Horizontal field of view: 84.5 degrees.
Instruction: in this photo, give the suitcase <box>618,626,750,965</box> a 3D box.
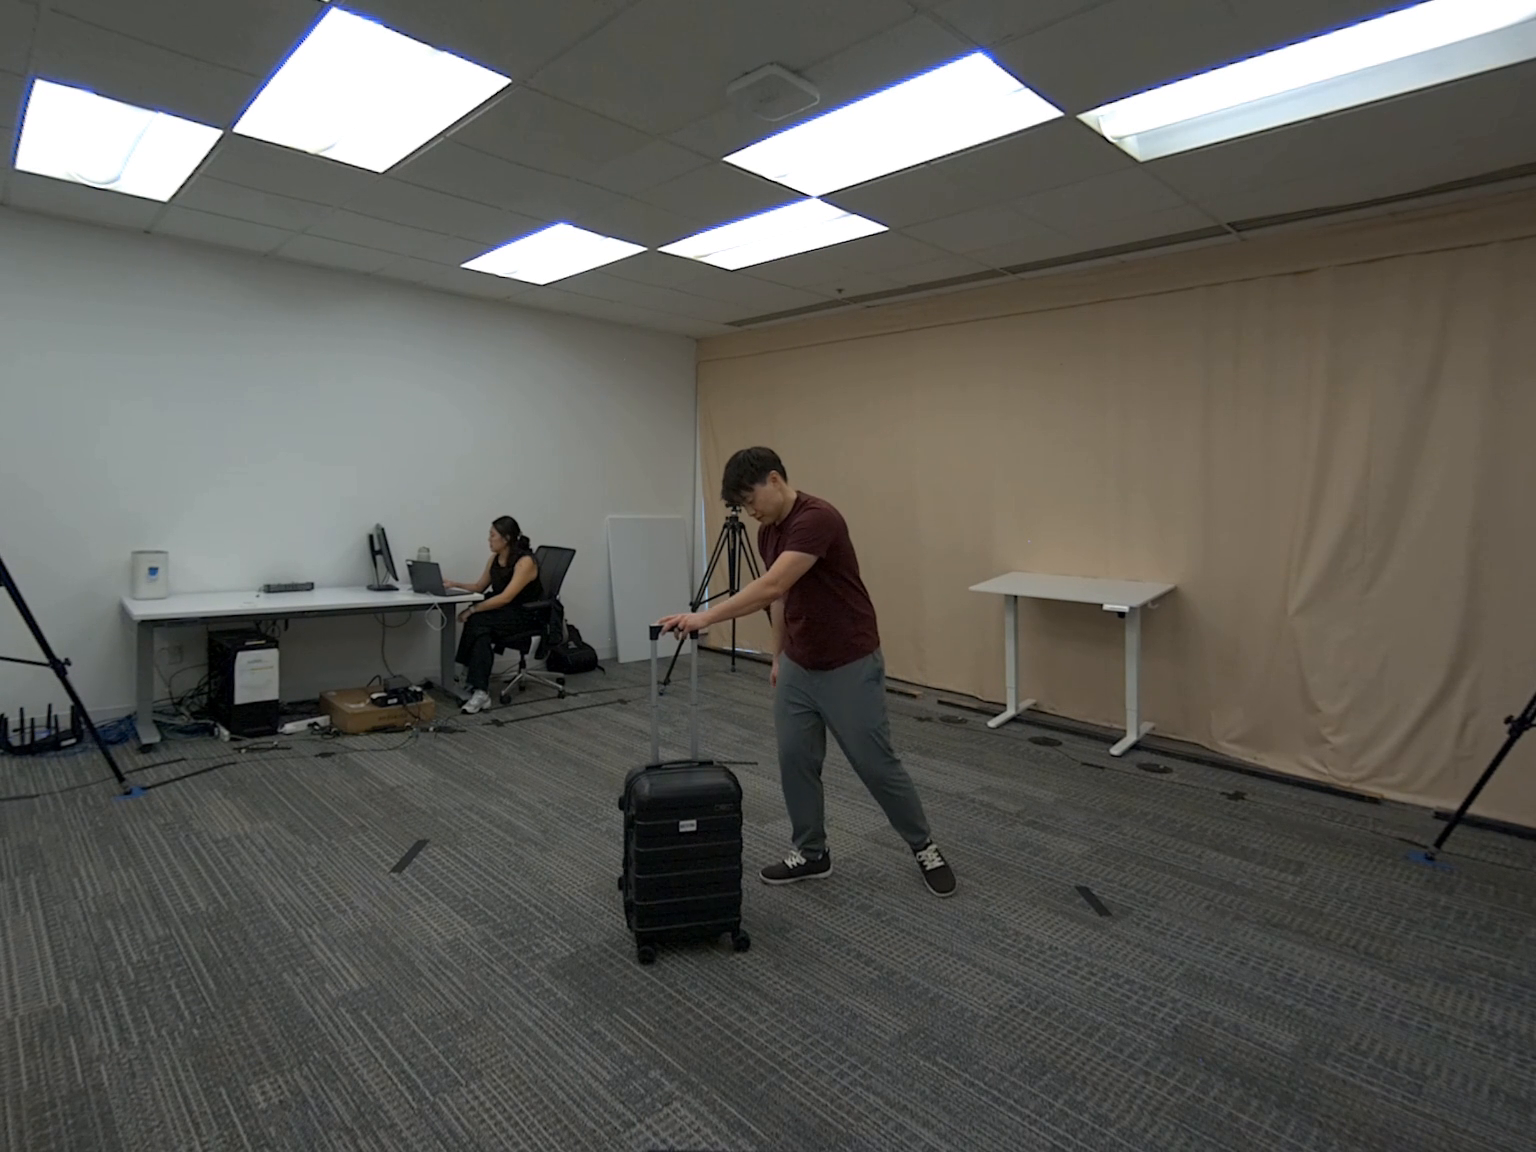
[{"bbox_3d":[-0.268,0.671,2.618,0.379,0.975,0.261,-2,4,-15],"label":"suitcase"}]
